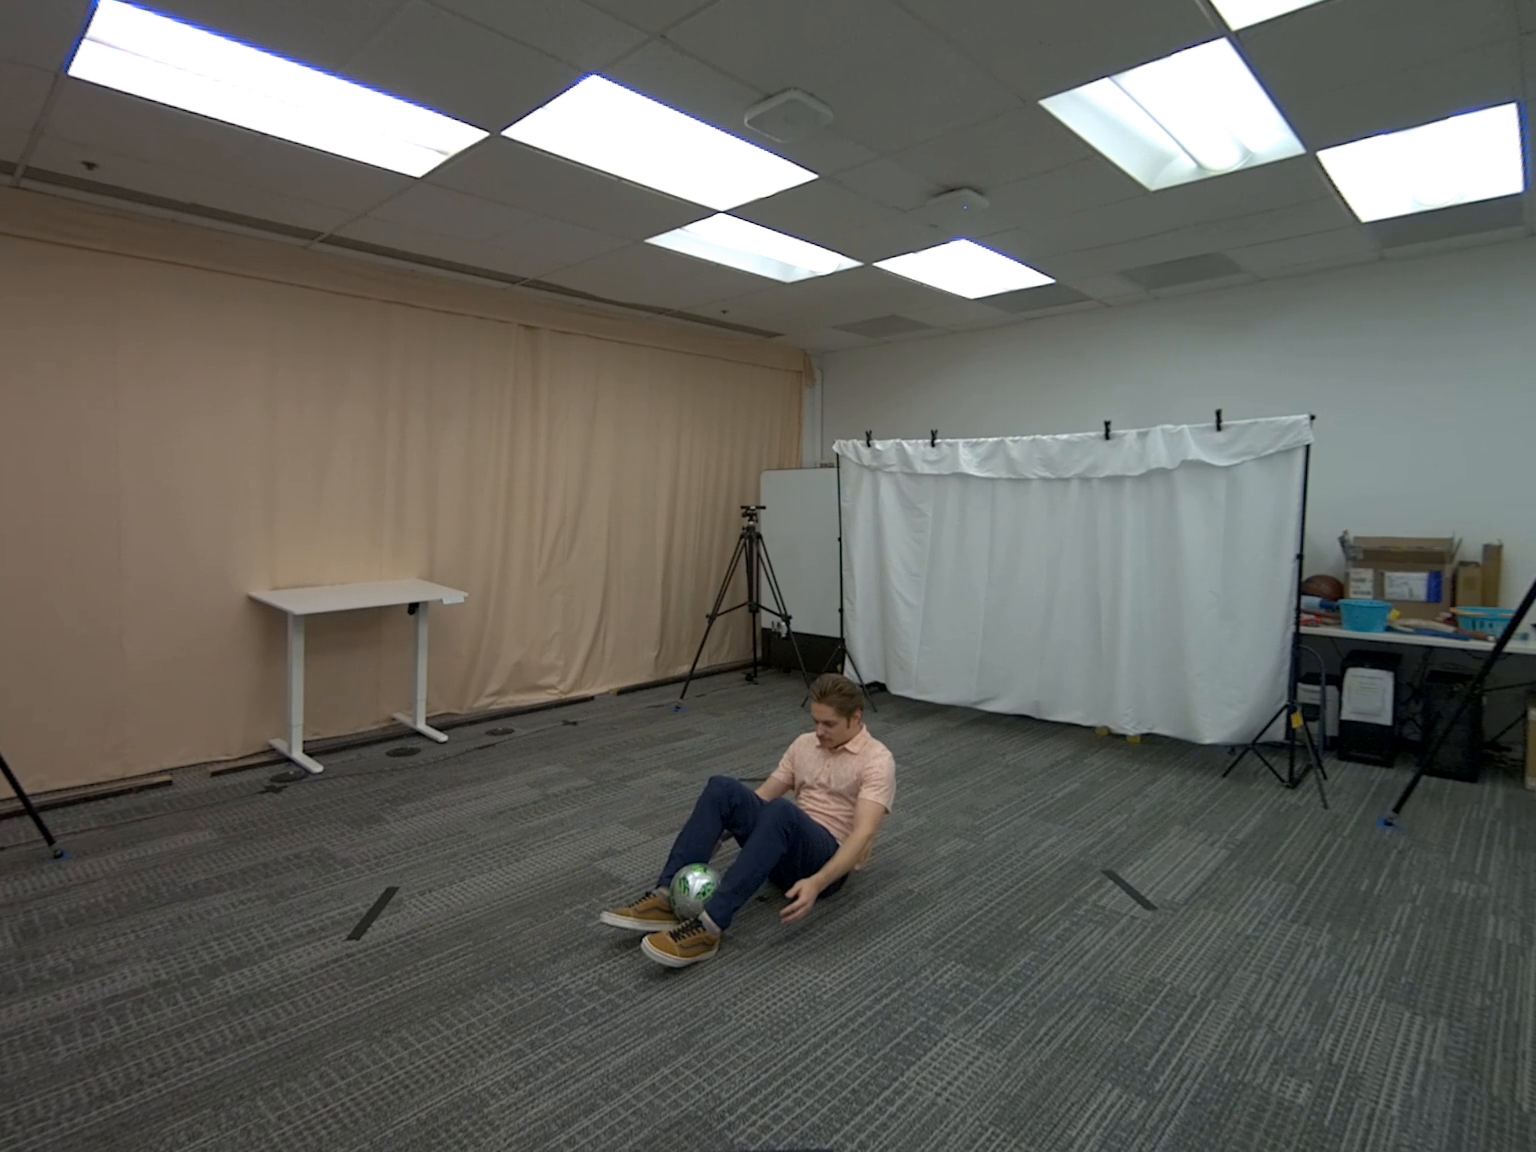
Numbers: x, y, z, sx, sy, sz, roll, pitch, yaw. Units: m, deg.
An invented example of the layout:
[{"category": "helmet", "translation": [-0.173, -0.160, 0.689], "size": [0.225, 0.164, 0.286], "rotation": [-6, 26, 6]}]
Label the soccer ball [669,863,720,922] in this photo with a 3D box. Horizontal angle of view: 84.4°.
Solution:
[{"category": "soccer ball", "translation": [-0.219, 1.023, 2.726], "size": [0.187, 0.187, 0.188], "rotation": [0, 4, -2]}]
